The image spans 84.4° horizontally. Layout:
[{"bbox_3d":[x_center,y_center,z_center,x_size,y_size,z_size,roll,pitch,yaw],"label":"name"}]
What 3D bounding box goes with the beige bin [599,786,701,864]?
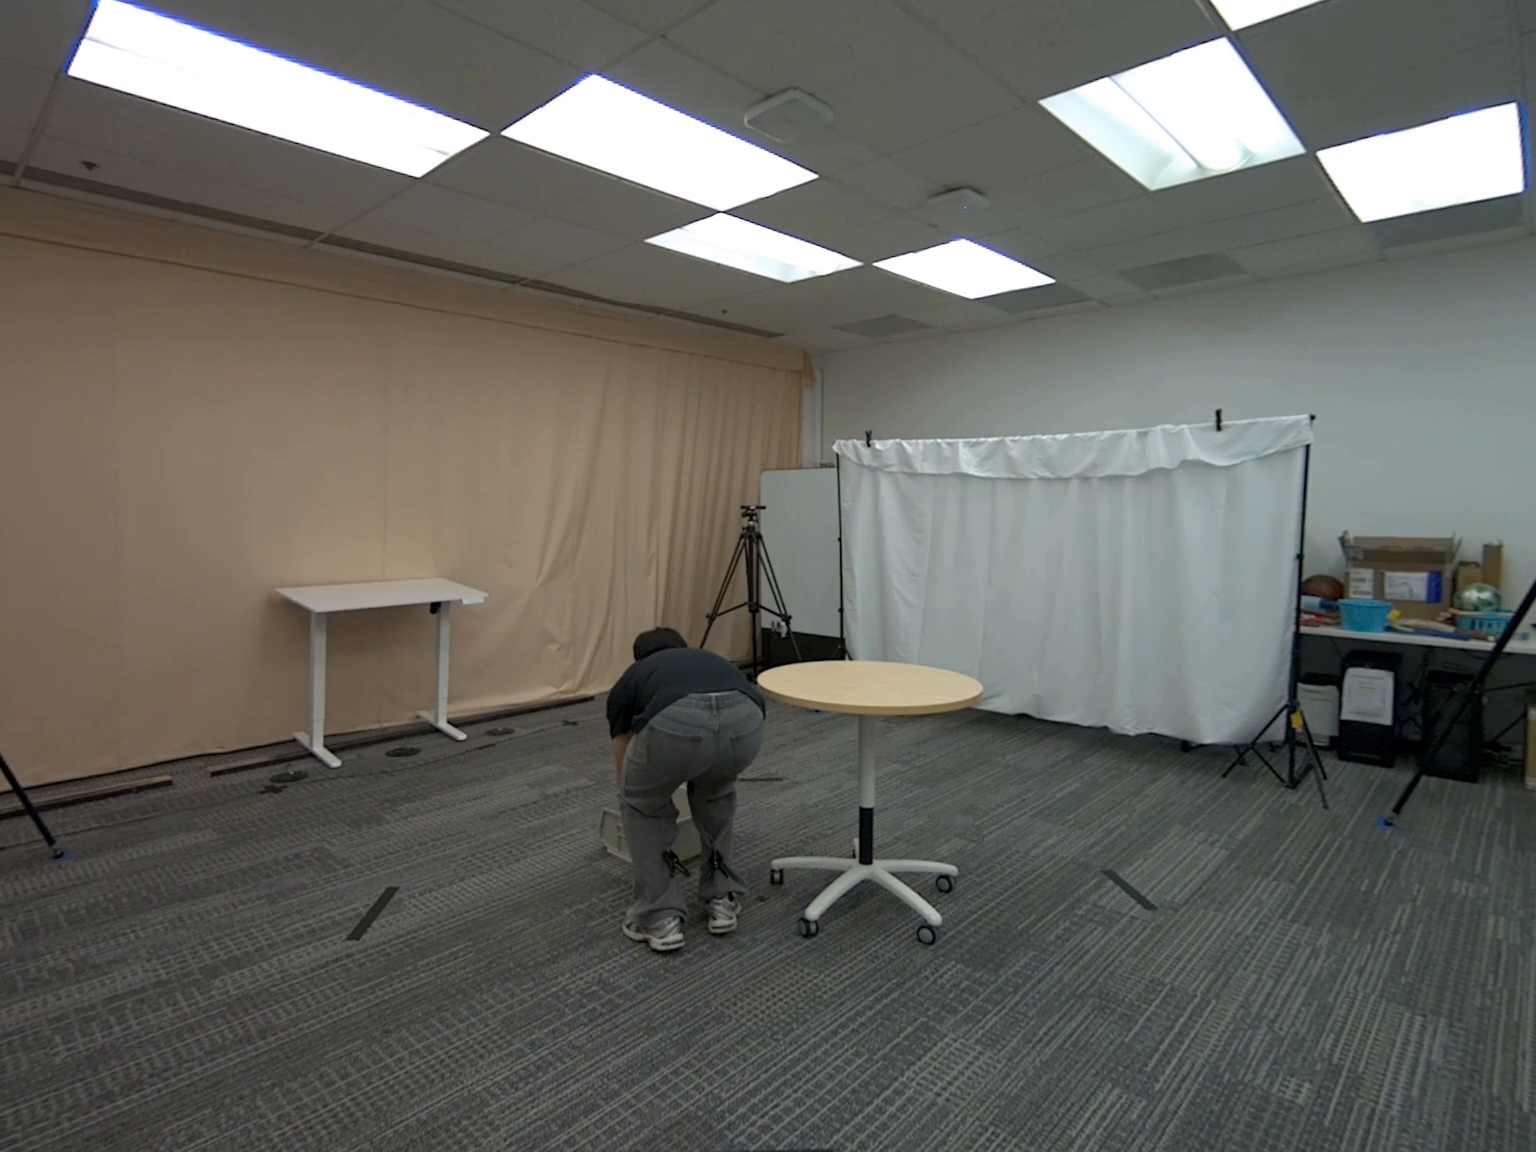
[{"bbox_3d":[-0.415,1.018,3.444,0.390,0.188,0.409,5,6,44],"label":"beige bin"}]
